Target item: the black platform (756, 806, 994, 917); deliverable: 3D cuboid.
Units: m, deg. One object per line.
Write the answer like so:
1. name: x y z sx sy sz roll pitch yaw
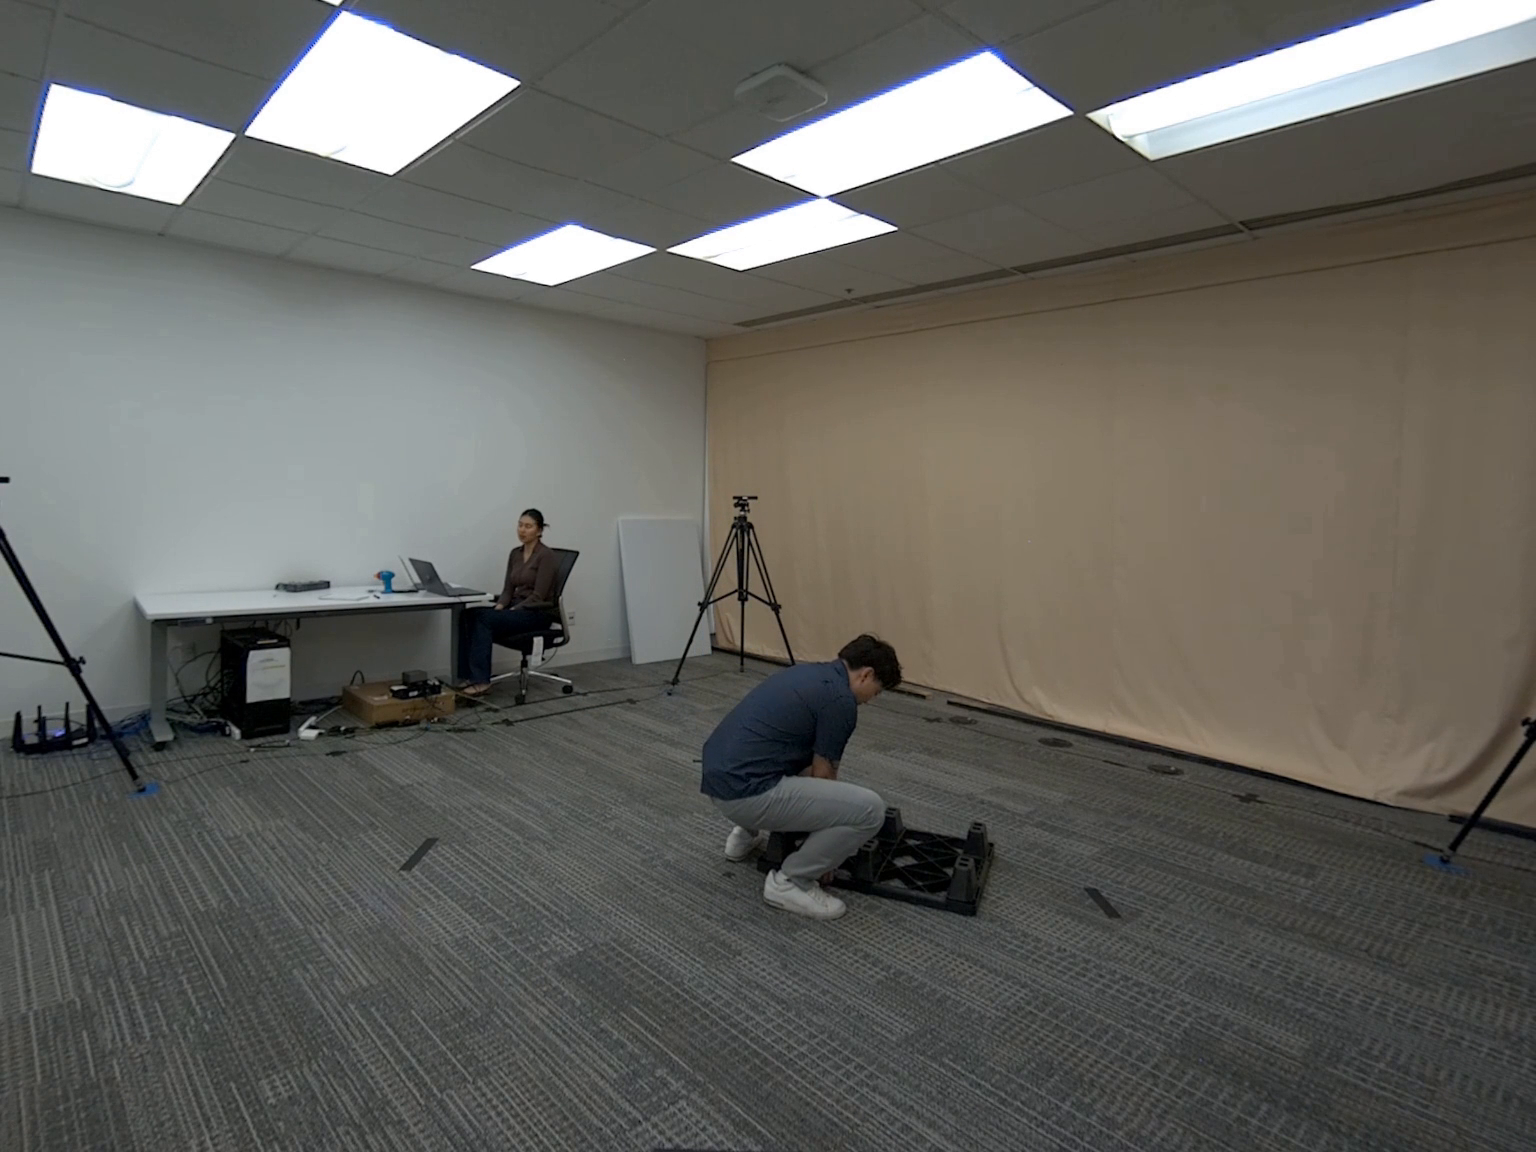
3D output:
1. black platform: 0.426 1.034 3.255 0.820 0.143 0.596 3 6 22
